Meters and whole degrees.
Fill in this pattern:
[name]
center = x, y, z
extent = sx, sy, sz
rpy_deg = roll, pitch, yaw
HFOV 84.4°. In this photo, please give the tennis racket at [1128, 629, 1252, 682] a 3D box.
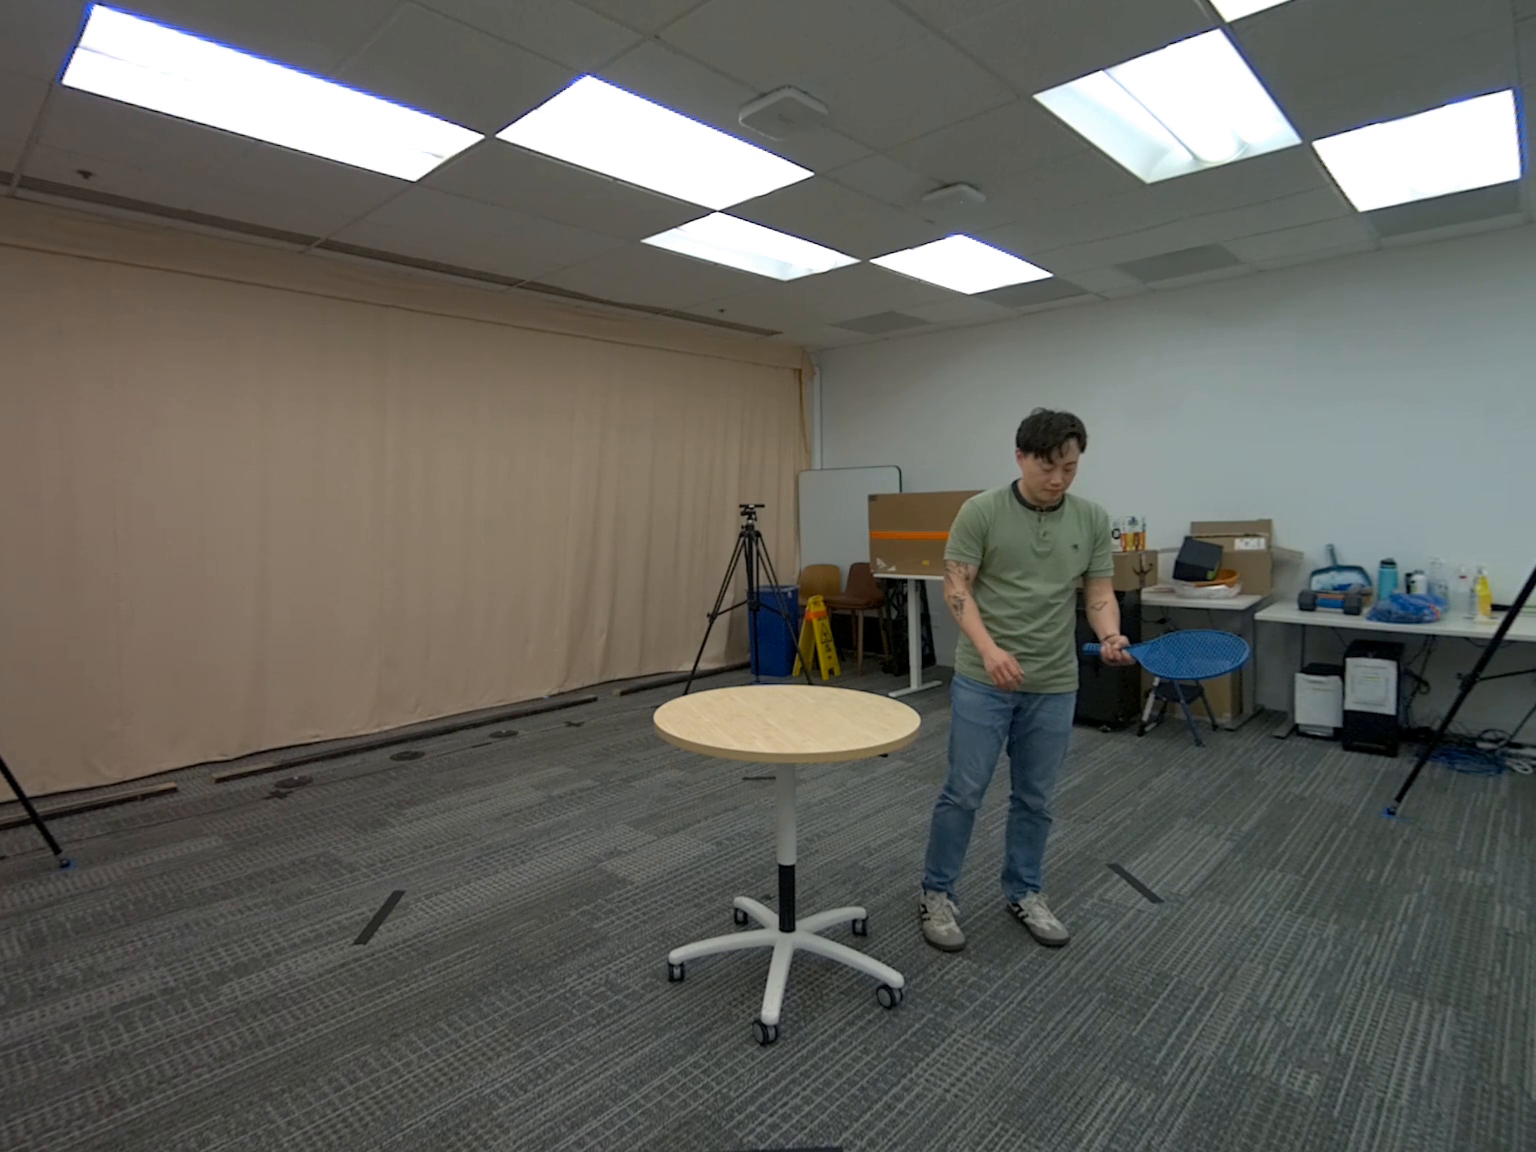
[tennis racket]
center = 1.069, 0.219, 2.304
extent = 0.445, 0.031, 0.211
rpy_deg = -8, 28, 42
